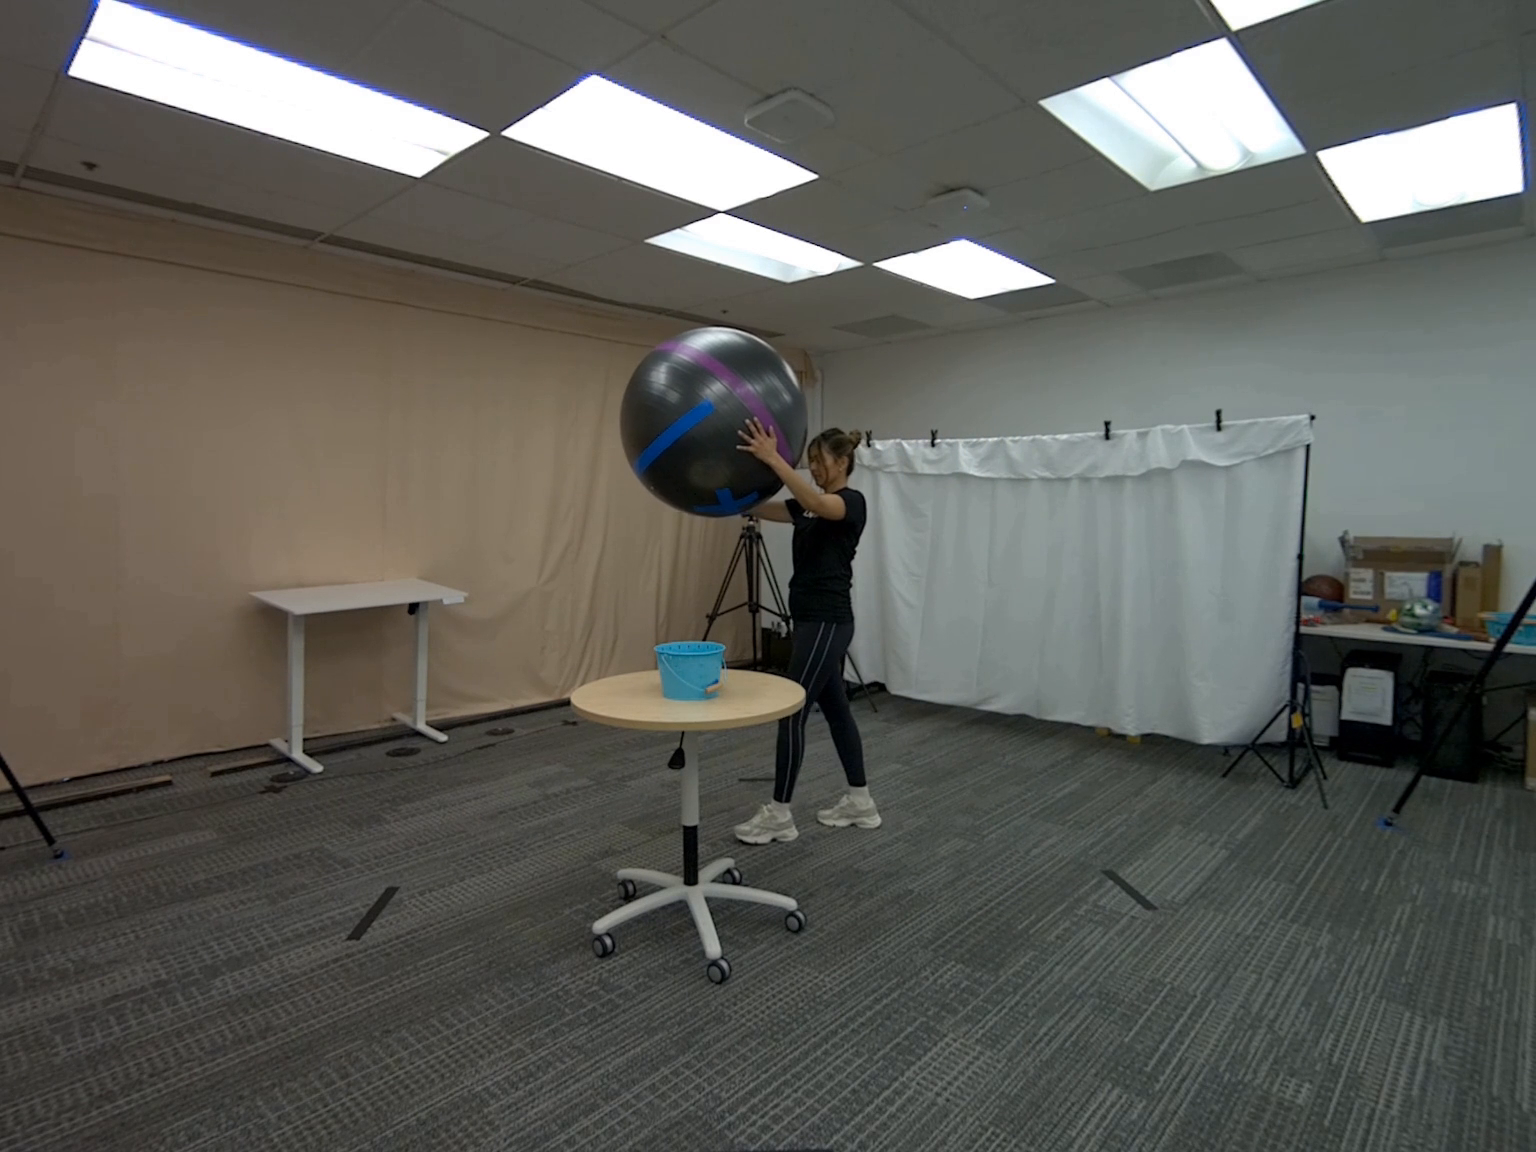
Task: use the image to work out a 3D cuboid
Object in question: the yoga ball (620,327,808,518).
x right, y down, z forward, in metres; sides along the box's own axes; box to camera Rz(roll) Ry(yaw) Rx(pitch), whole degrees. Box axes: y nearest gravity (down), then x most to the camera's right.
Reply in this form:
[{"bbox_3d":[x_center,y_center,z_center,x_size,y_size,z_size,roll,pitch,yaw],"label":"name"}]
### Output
[{"bbox_3d":[-0.226,-0.611,3.406,0.757,0.756,0.761,0,4,-2],"label":"yoga ball"}]
